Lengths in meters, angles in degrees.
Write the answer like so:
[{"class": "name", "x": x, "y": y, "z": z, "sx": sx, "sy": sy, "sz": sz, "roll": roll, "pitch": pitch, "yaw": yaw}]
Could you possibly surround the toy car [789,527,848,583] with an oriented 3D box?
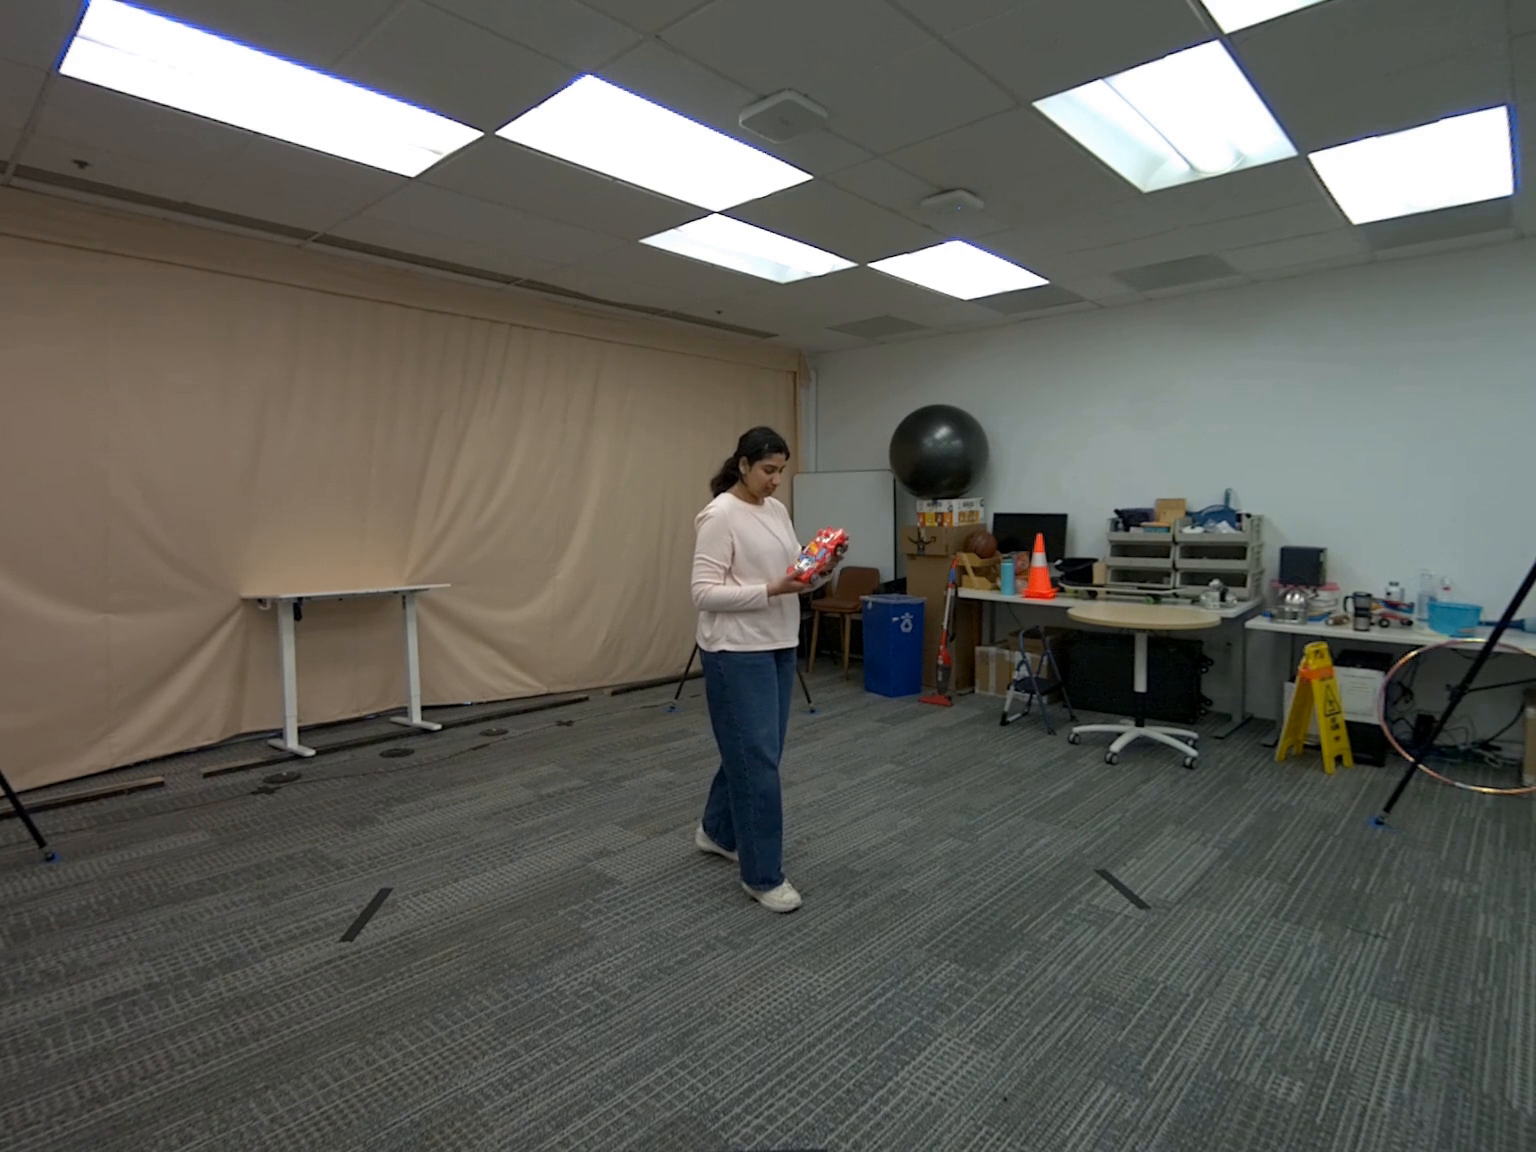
[{"class": "toy car", "x": 0.178, "y": -0.071, "z": 2.903, "sx": 0.135, "sy": 0.254, "sz": 0.080, "roll": 15, "pitch": -26, "yaw": 48}]
